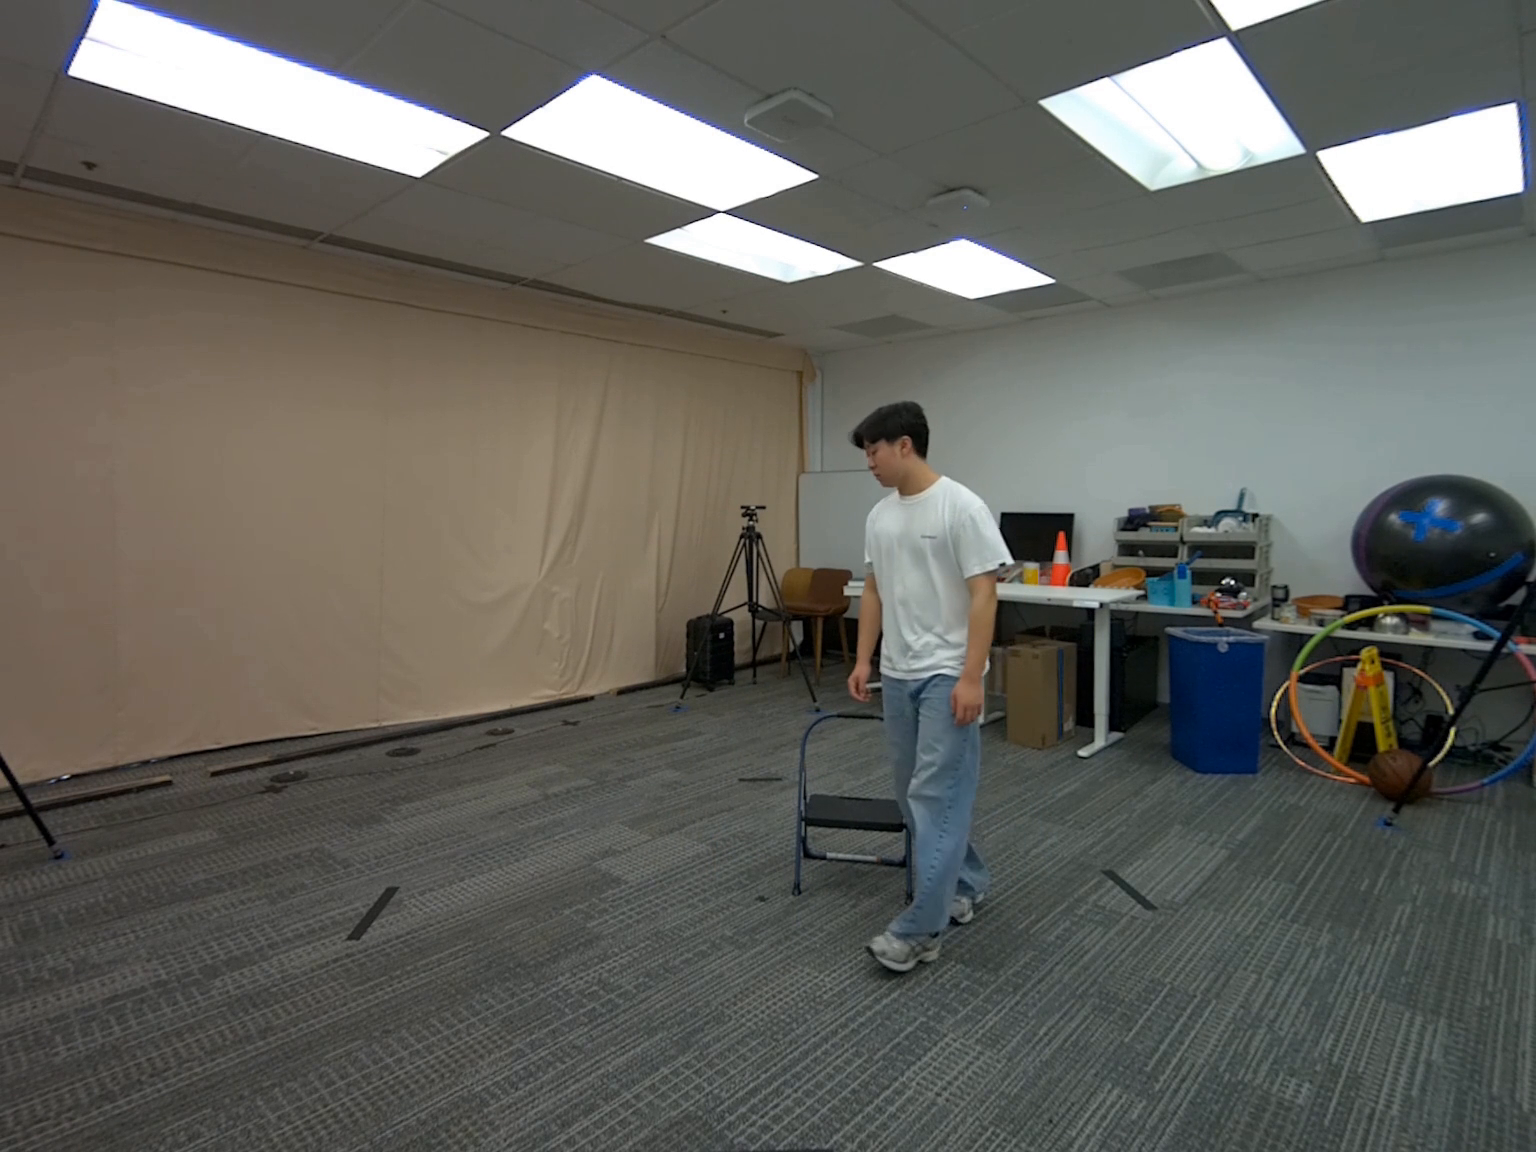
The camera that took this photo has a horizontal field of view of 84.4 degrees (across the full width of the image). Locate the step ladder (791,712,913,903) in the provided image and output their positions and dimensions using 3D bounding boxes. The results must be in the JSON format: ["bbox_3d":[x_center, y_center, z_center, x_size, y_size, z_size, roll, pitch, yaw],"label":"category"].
[{"bbox_3d":[0.325,0.828,3.125,0.435,0.605,0.346,1,3,10],"label":"step ladder"}]
